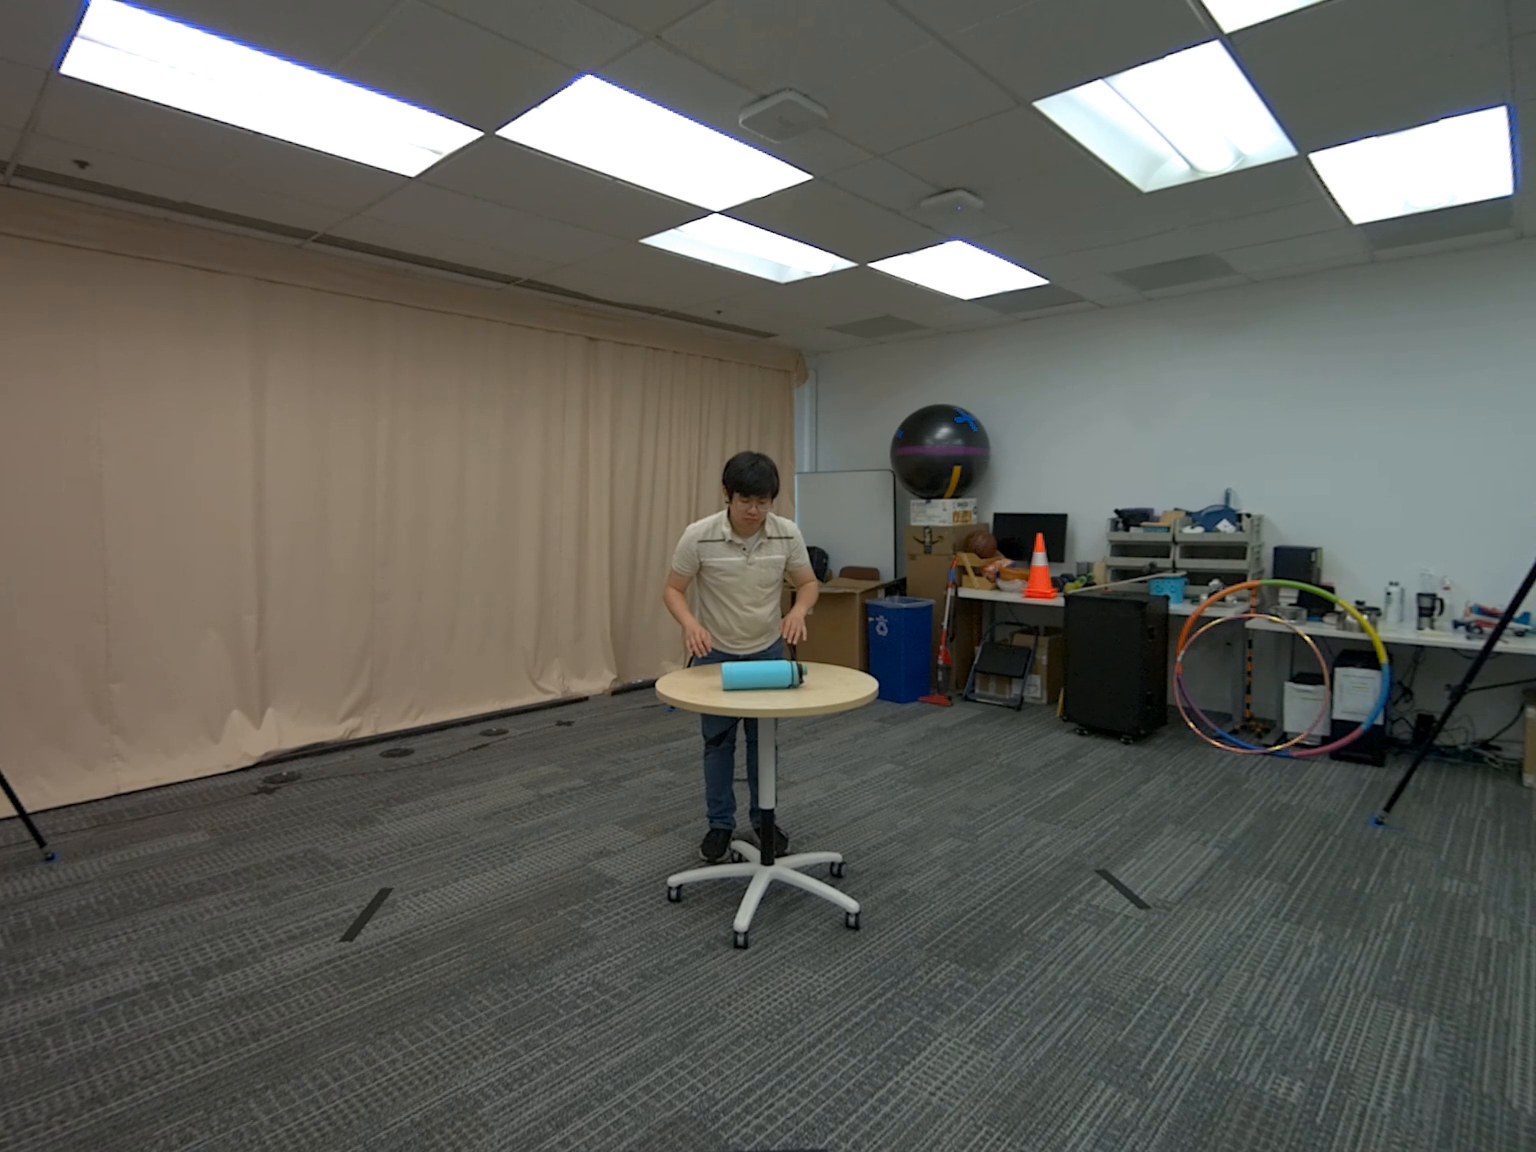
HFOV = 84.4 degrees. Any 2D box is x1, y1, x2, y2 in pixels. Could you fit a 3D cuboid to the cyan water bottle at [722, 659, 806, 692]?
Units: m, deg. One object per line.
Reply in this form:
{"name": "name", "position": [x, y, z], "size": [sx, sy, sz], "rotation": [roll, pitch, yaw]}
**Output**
{"name": "cyan water bottle", "position": [-0.014, 0.326, 2.808], "size": [0.283, 0.092, 0.093], "rotation": [-2, 4, -3]}
